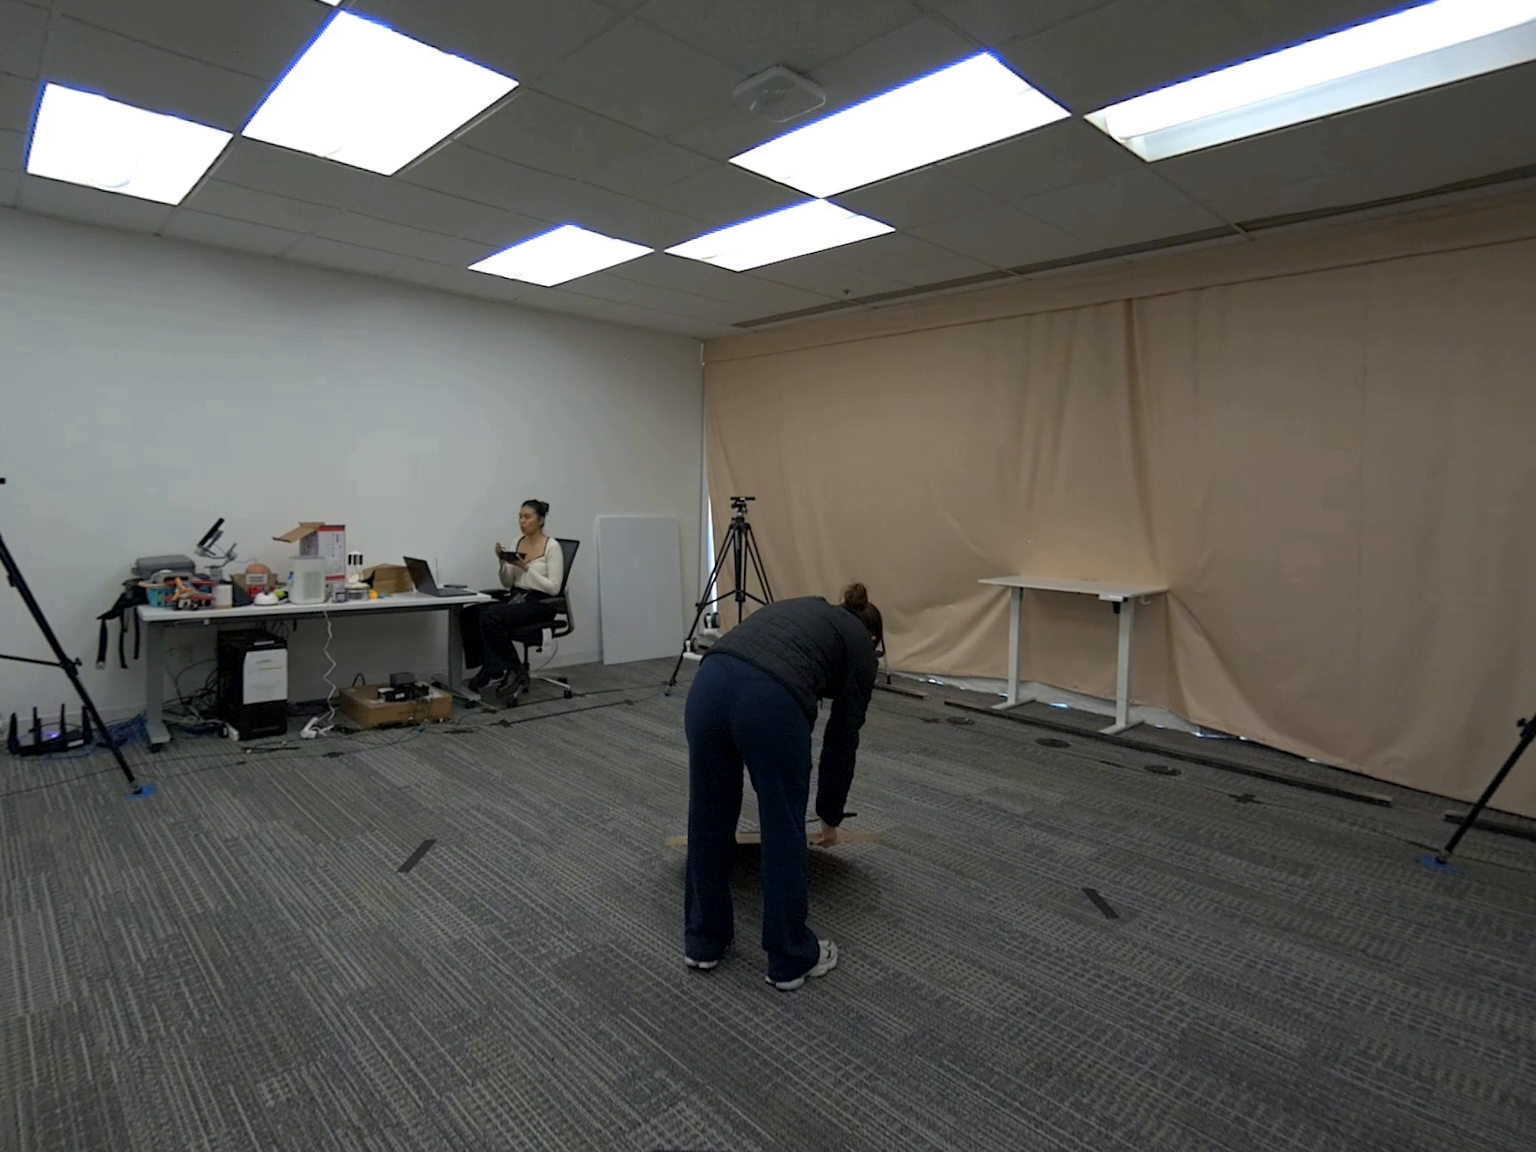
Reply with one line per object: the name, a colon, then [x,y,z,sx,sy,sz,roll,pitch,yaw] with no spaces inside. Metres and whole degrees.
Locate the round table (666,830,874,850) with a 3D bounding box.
round table: [0.000,0.586,3.168,0.784,0.798,0.774,-2,-19,-2]
